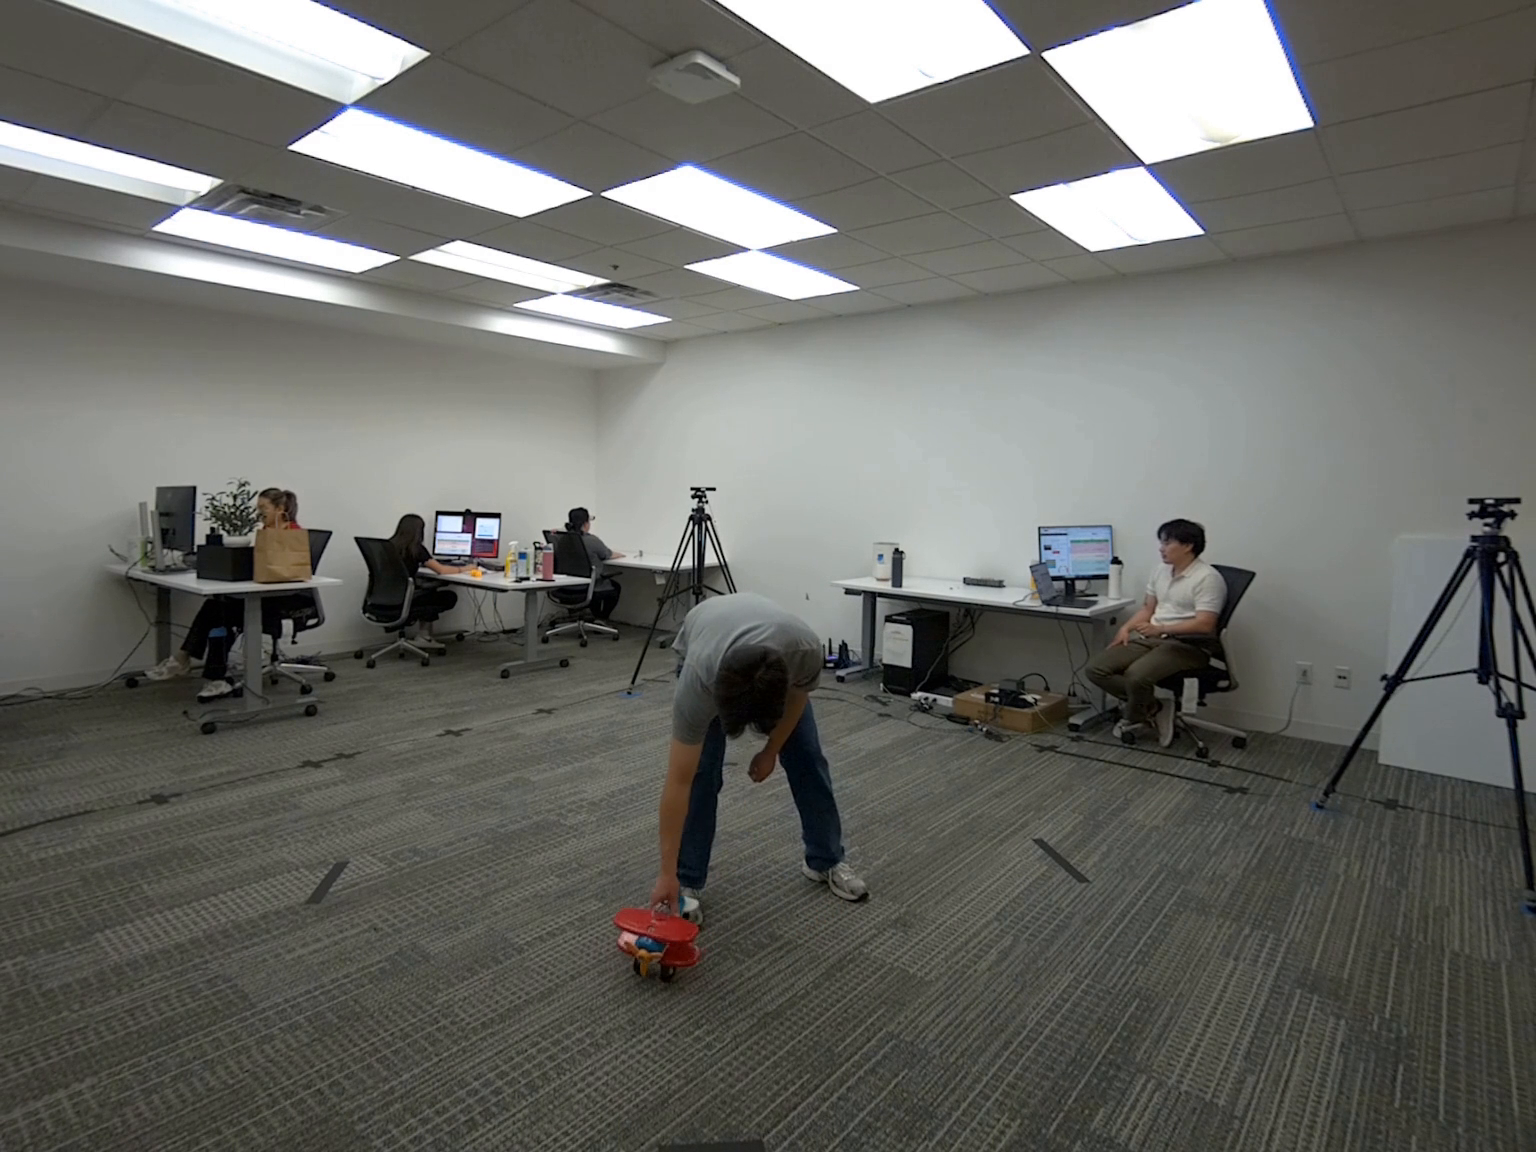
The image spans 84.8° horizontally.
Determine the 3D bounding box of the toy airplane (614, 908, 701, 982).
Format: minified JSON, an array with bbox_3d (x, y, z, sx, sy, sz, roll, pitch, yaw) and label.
[{"bbox_3d":[-0.320,1.023,2.457,0.250,0.152,0.268,-13,31,-4],"label":"toy airplane"}]
